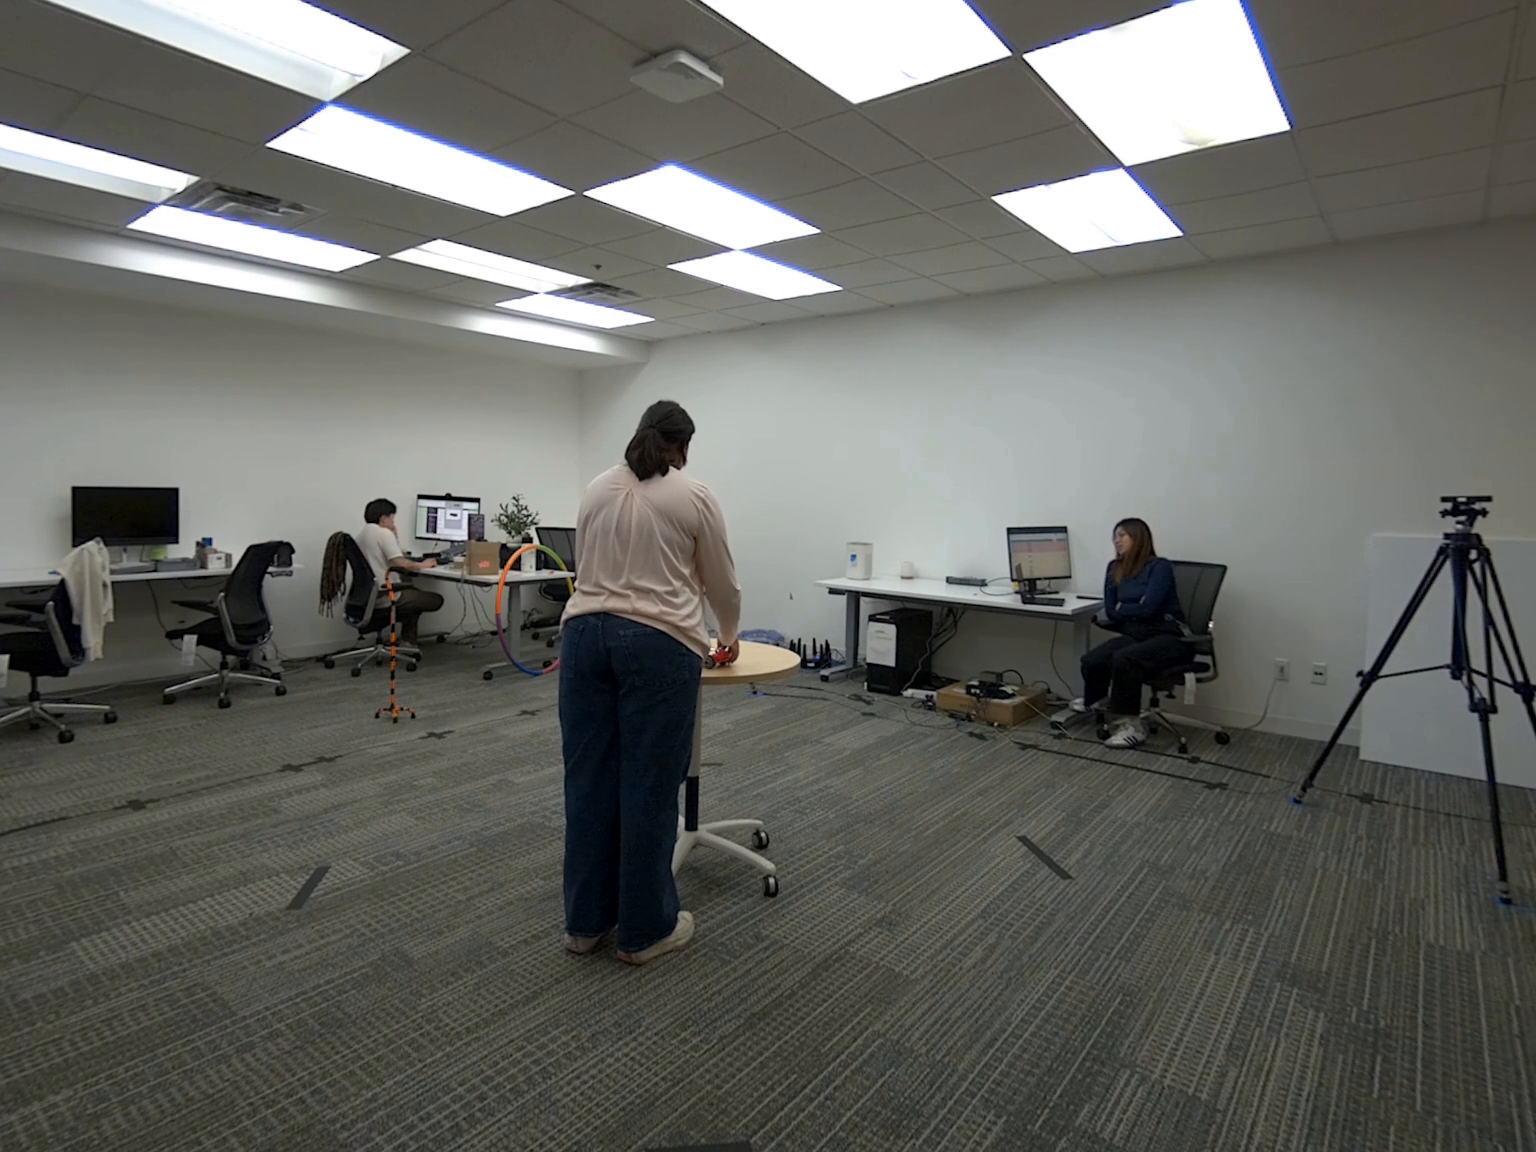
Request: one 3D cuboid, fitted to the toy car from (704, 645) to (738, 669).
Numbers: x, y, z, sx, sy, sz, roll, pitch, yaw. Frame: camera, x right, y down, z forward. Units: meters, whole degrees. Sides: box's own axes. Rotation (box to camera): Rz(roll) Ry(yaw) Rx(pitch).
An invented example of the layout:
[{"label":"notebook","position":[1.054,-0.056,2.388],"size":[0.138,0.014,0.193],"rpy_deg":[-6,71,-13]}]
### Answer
[{"label":"toy car","position":[-0.269,0.265,2.938],"size":[0.263,0.082,0.127],"rpy_deg":[17,11,30]}]
